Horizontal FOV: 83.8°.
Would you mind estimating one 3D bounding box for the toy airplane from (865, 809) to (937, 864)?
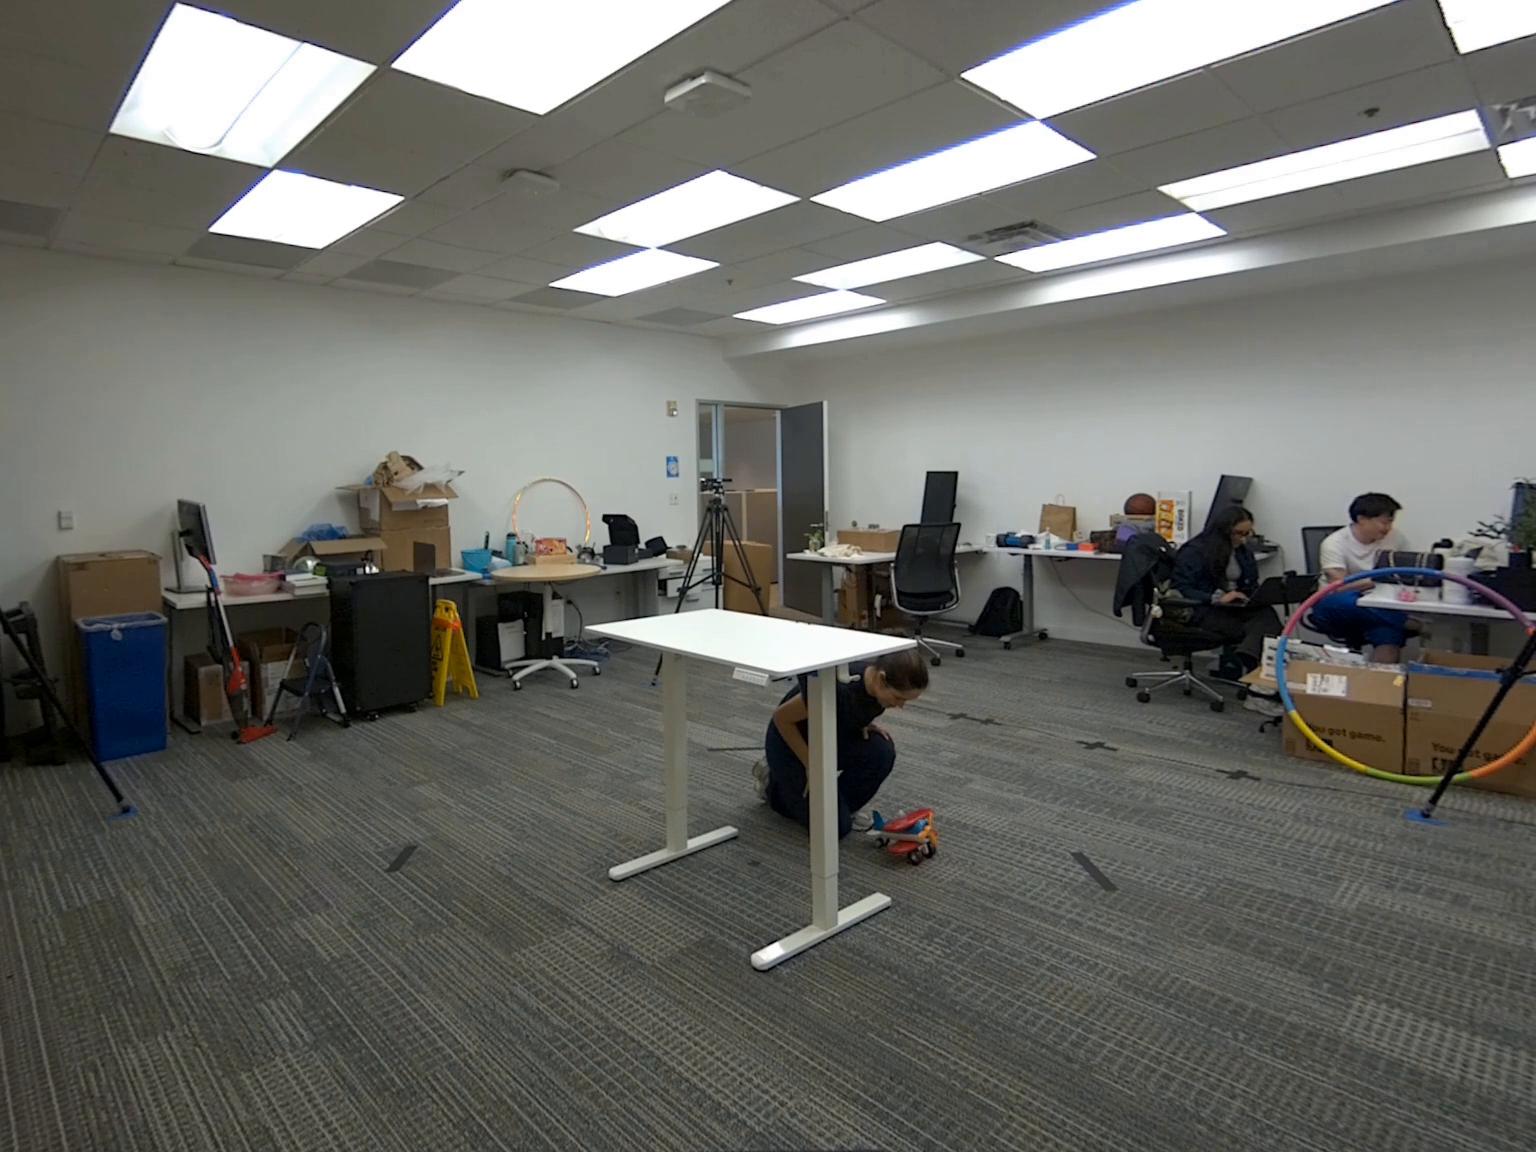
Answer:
[{"bbox_3d":[0.486,0.951,3.163,0.264,0.156,0.248,2,7,17],"label":"toy airplane"}]
